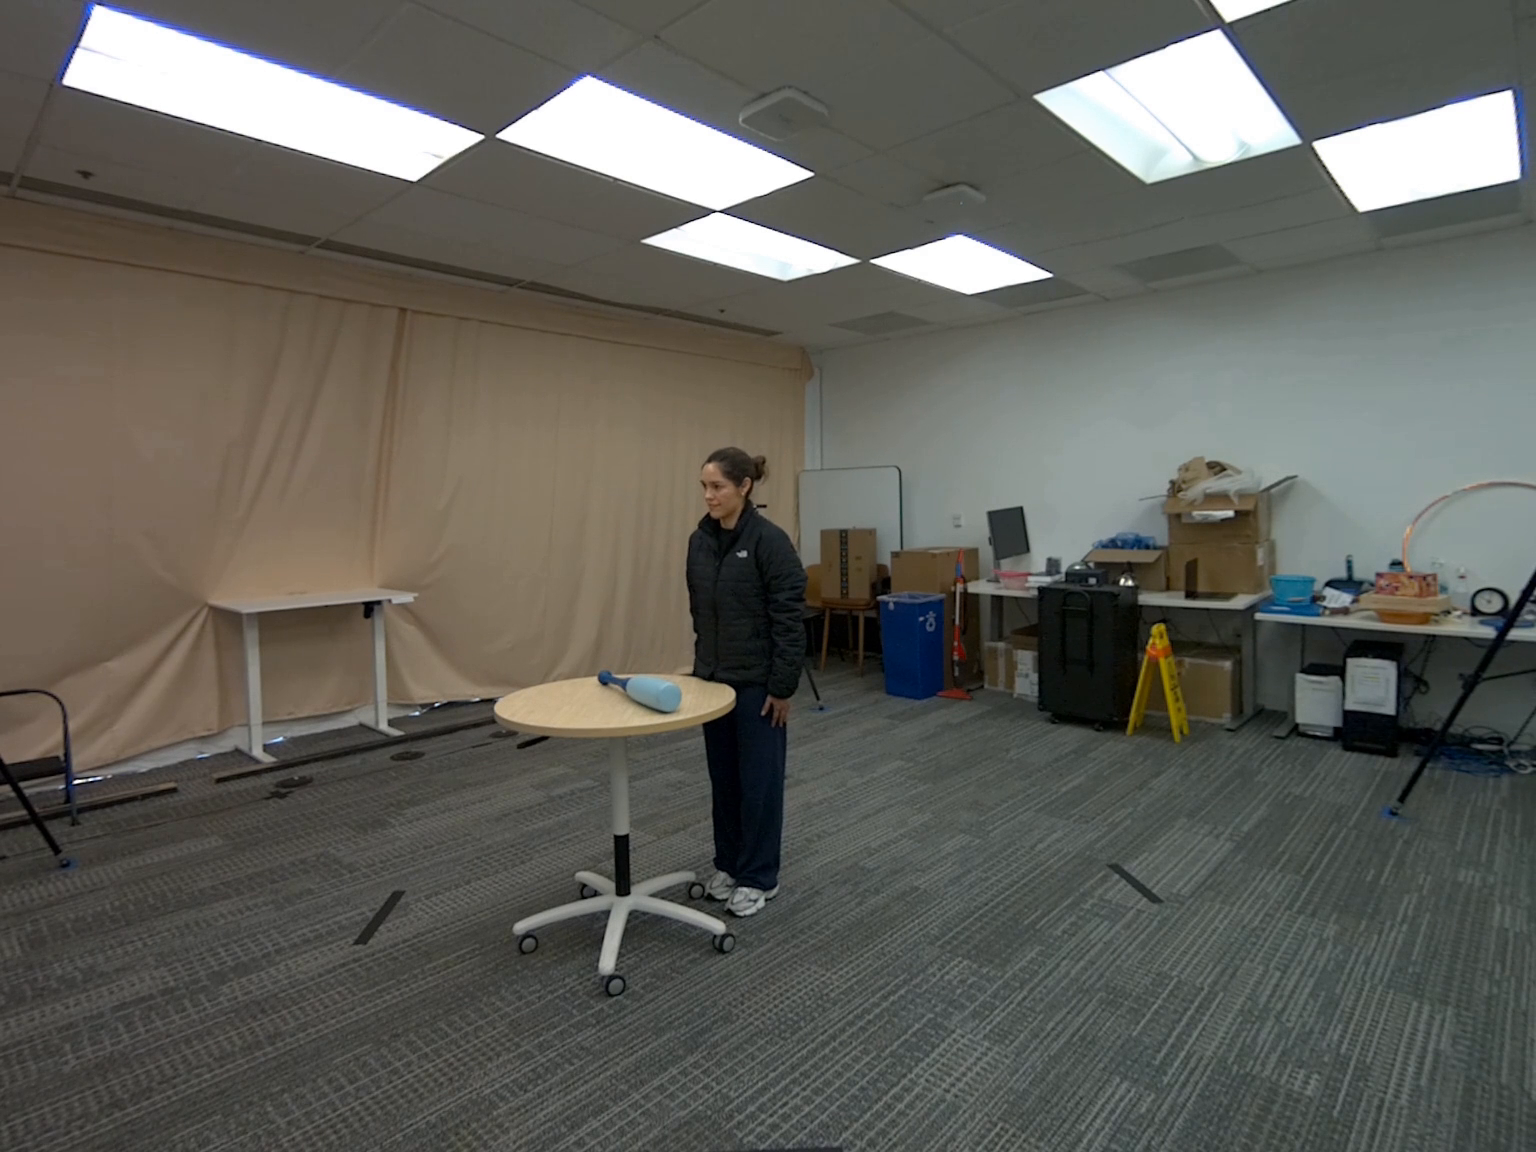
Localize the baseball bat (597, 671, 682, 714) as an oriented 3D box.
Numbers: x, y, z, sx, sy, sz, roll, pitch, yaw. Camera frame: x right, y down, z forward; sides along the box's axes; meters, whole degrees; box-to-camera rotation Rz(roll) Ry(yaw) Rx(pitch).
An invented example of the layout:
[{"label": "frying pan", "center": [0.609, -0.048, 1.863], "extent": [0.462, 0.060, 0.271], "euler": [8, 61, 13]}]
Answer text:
[{"label": "baseball bat", "center": [-0.417, 0.356, 2.684], "extent": [0.086, 0.089, 0.558], "euler": [-3, 2, -31]}]
